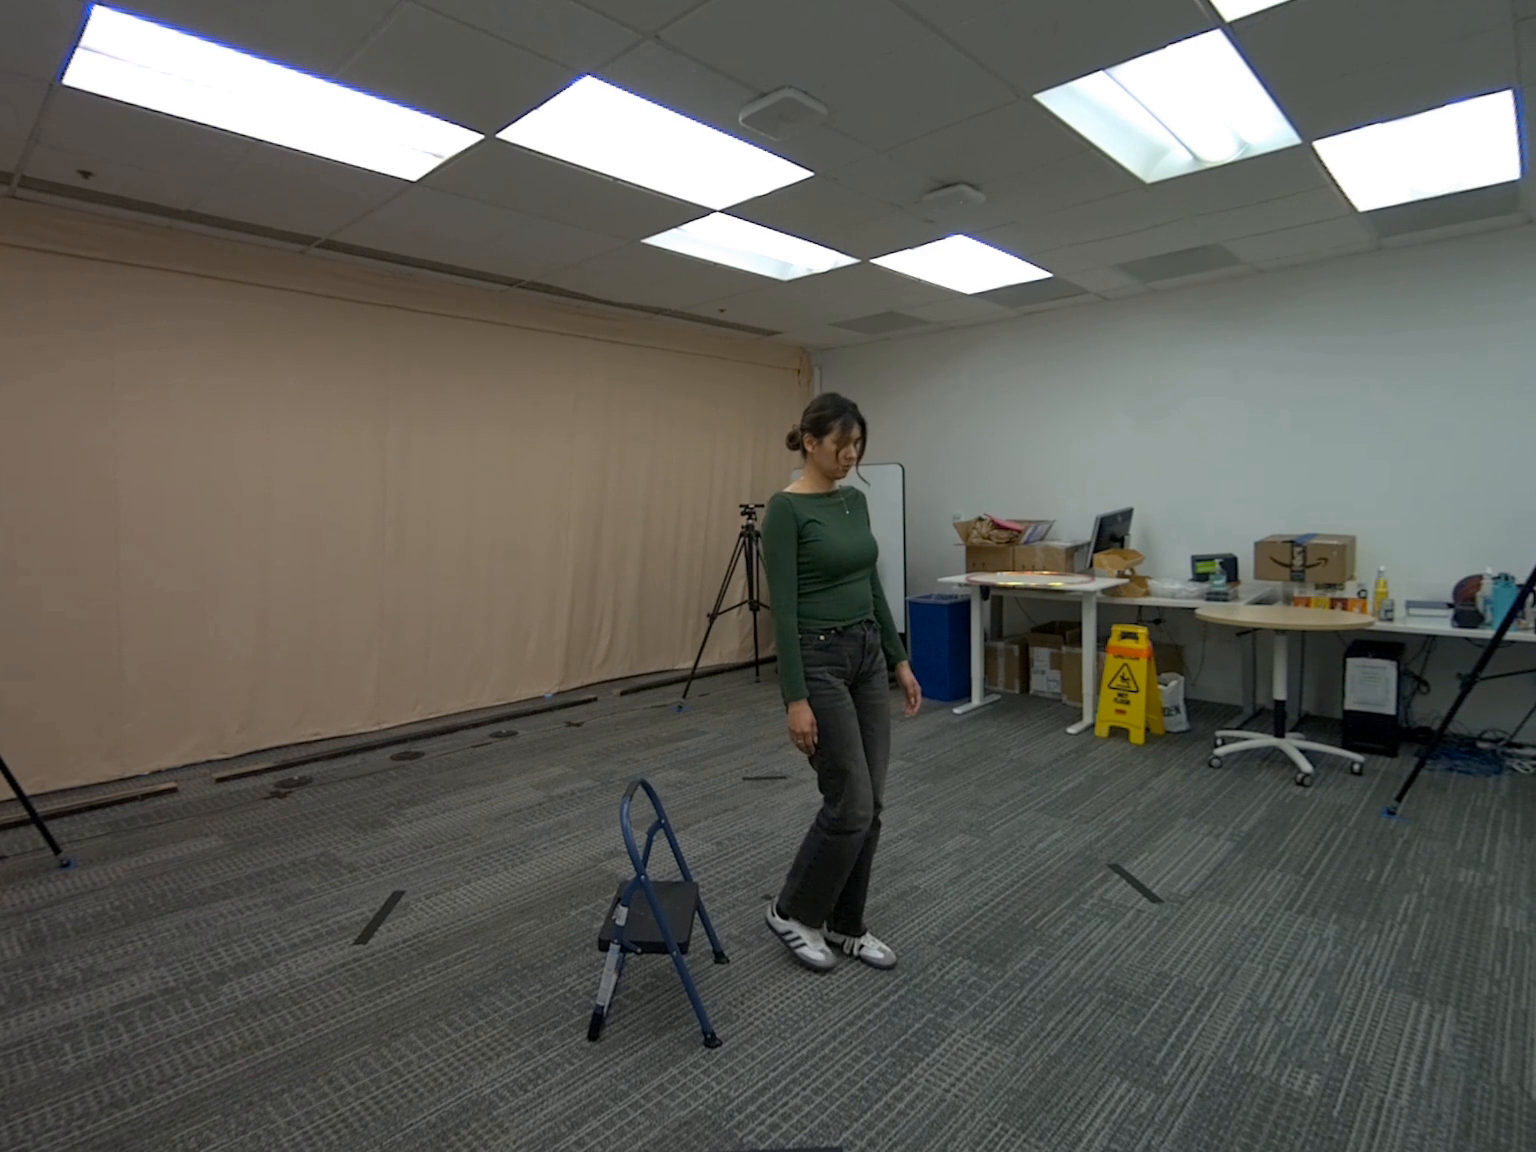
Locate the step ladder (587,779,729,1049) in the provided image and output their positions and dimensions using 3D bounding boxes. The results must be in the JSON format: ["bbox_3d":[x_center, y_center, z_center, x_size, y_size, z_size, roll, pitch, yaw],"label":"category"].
[{"bbox_3d":[-0.302,0.901,2.367,0.350,0.605,0.430,0,3,1],"label":"step ladder"}]
